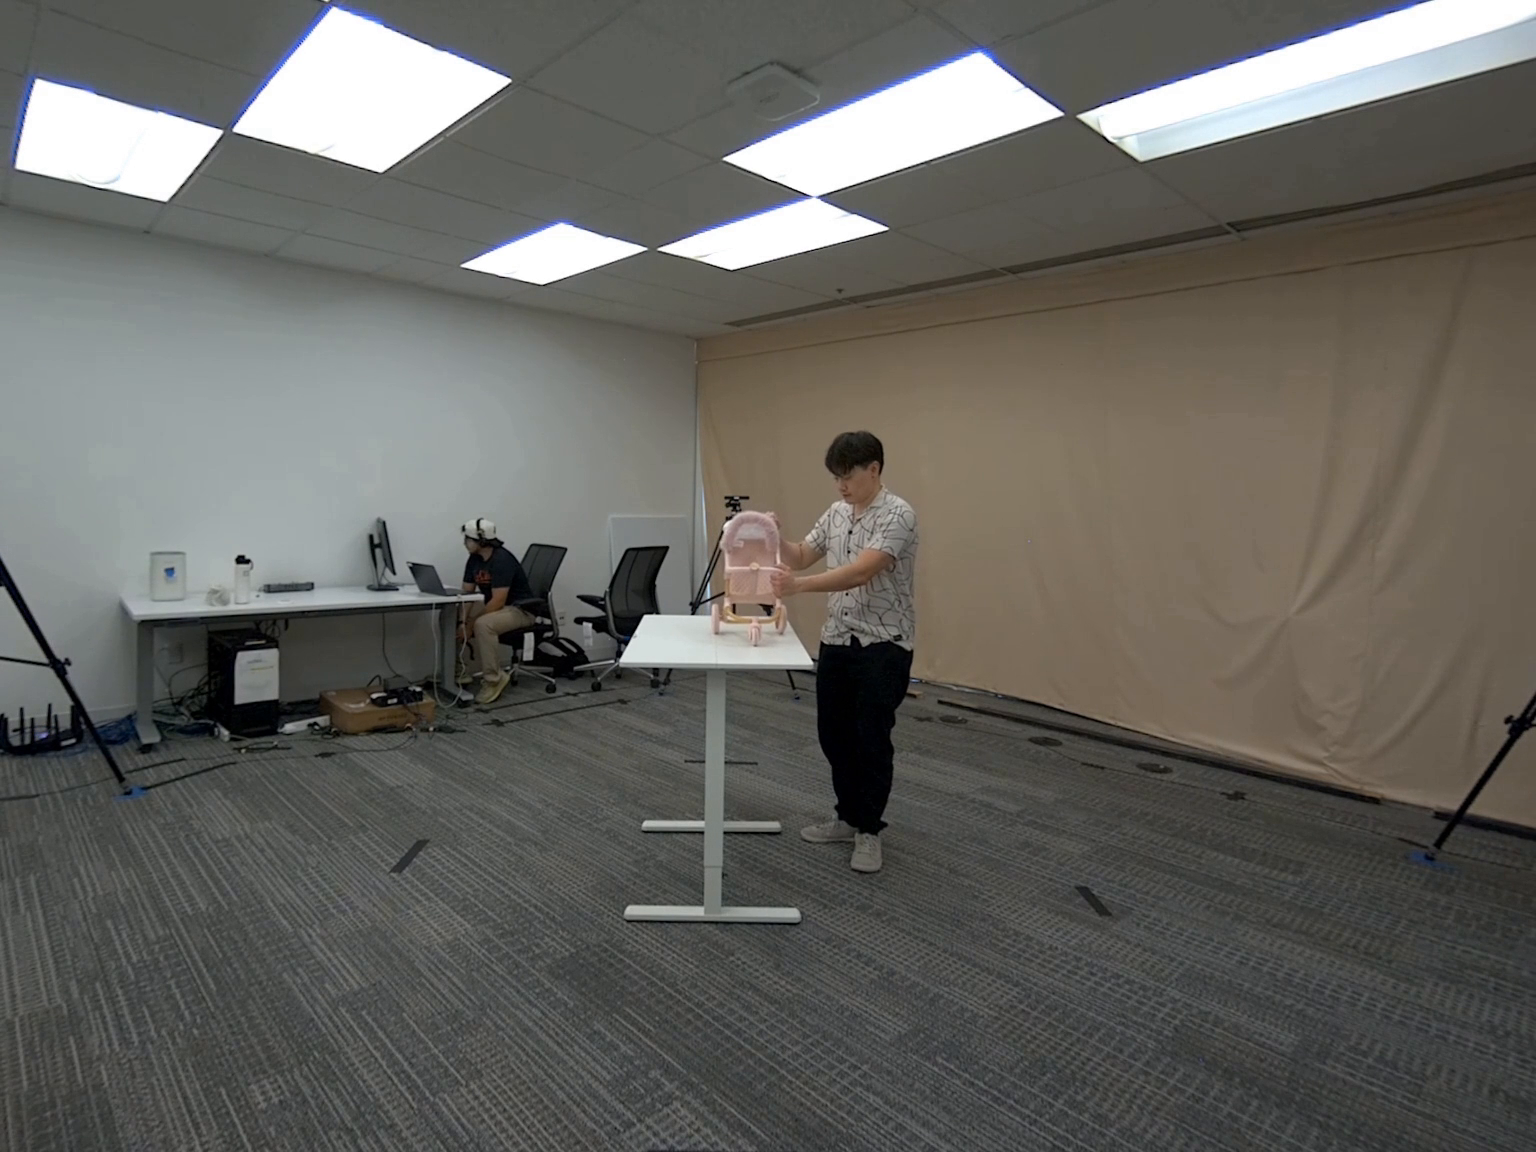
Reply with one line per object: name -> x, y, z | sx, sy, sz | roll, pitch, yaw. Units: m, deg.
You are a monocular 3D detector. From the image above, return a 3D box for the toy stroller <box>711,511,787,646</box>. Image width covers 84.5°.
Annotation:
toy stroller -> -0.068, 0.005, 3.082 | 0.281, 0.540, 0.338 | 1, -12, -1
